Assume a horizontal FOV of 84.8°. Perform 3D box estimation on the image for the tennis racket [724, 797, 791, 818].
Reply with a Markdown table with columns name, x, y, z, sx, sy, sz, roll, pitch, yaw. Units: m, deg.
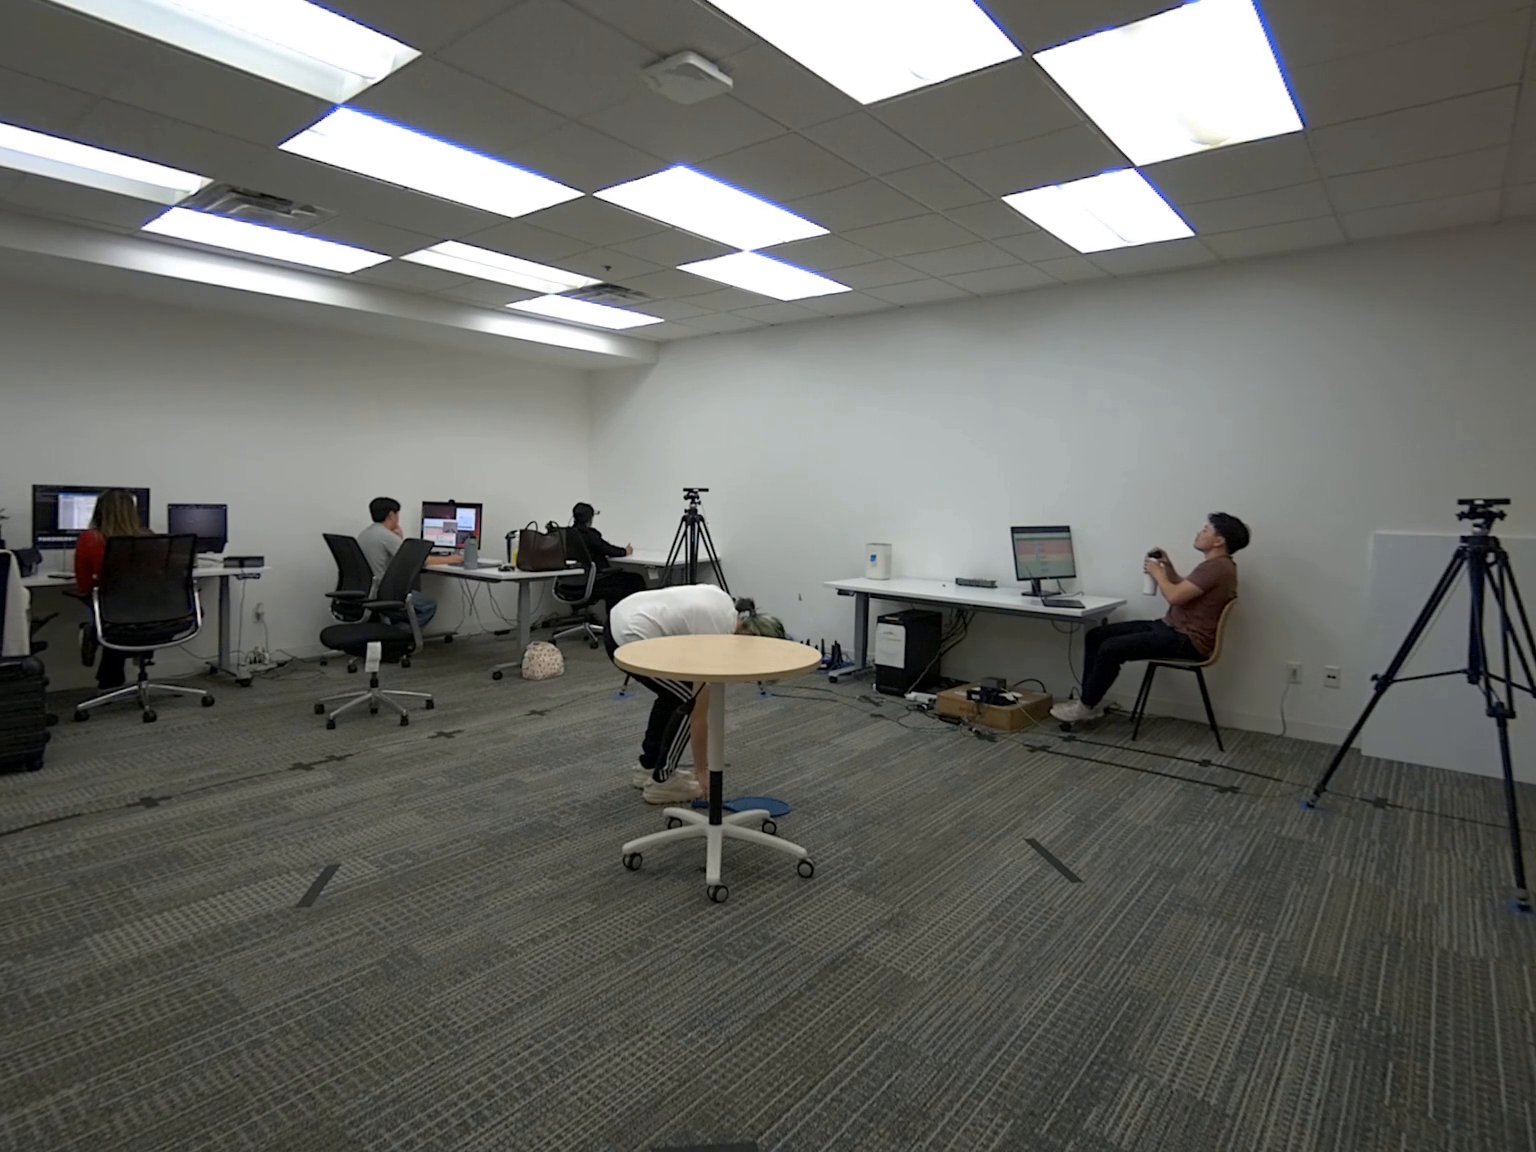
| name | x | y | z | sx | sy | sz | roll | pitch | yaw |
| --- | --- | --- | --- | --- | --- | --- | --- | --- | --- |
| tennis racket | -0.130 | 0.996 | 3.712 | 0.432 | 0.031 | 0.215 | 3 | 6 | -2 |
